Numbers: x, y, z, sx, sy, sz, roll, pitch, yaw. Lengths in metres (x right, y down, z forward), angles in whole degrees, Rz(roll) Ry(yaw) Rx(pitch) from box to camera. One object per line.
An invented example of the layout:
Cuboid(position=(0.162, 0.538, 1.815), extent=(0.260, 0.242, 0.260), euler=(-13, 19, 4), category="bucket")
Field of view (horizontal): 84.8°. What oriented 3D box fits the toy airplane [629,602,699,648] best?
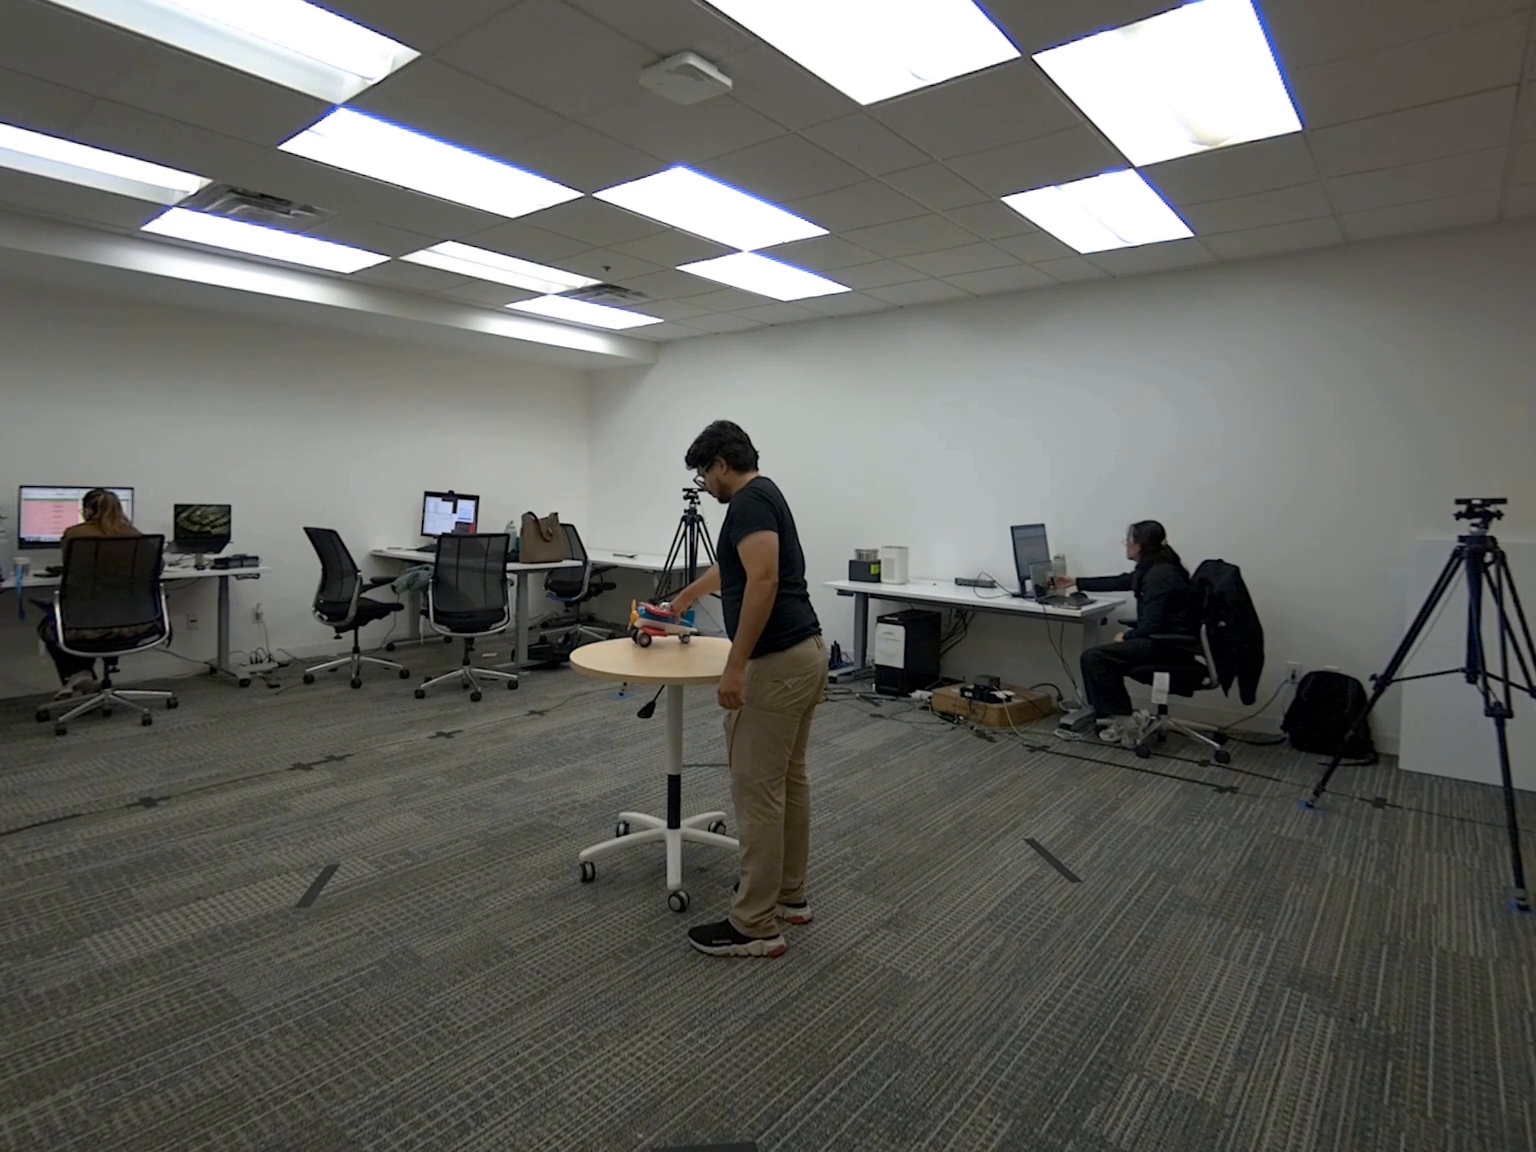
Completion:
Cuboid(position=(-0.431, 0.186, 3.327), extent=(0.259, 0.156, 0.252), euler=(5, 7, 41), category="toy airplane")
